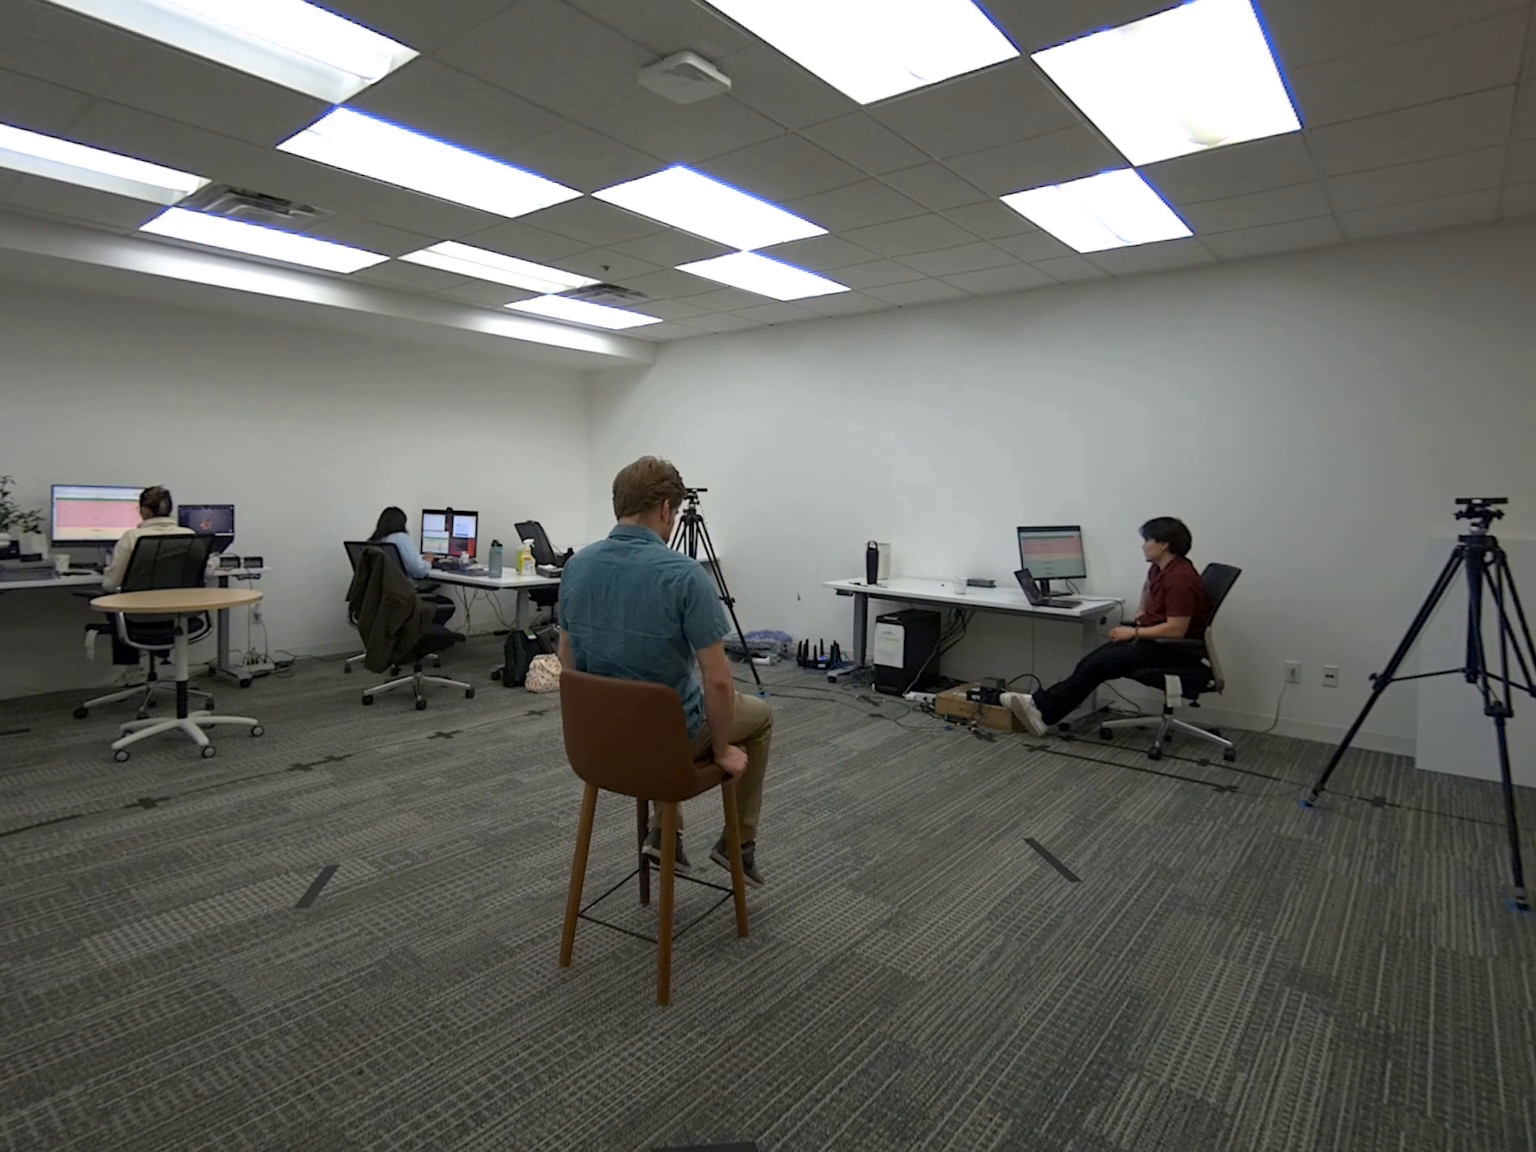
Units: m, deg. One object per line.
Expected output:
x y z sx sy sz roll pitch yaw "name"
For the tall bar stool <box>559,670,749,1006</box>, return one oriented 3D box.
-0.355 0.689 2.540 0.469 0.886 0.457 1 5 29 "tall bar stool"
